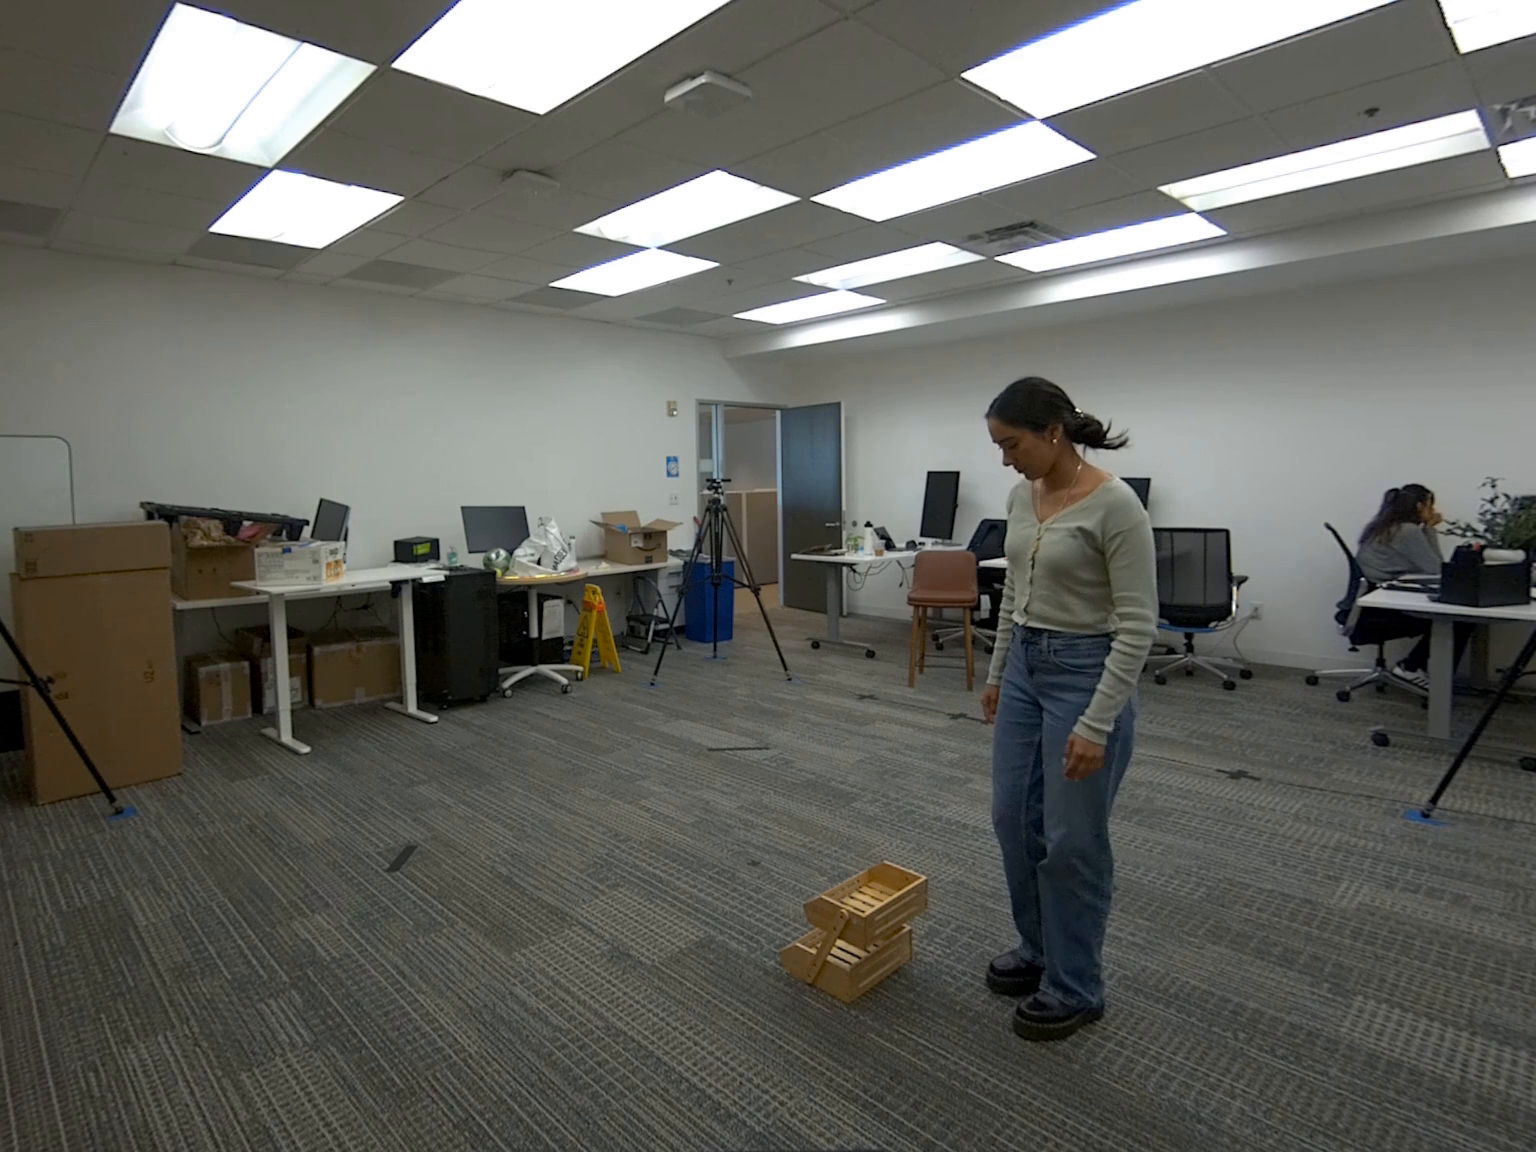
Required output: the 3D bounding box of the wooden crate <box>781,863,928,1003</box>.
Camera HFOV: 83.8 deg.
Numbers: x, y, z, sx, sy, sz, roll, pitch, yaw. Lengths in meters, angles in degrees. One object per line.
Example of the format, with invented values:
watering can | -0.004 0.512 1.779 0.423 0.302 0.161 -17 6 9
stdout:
wooden crate | 0.248 0.981 2.433 0.311 0.272 0.316 5 8 44
